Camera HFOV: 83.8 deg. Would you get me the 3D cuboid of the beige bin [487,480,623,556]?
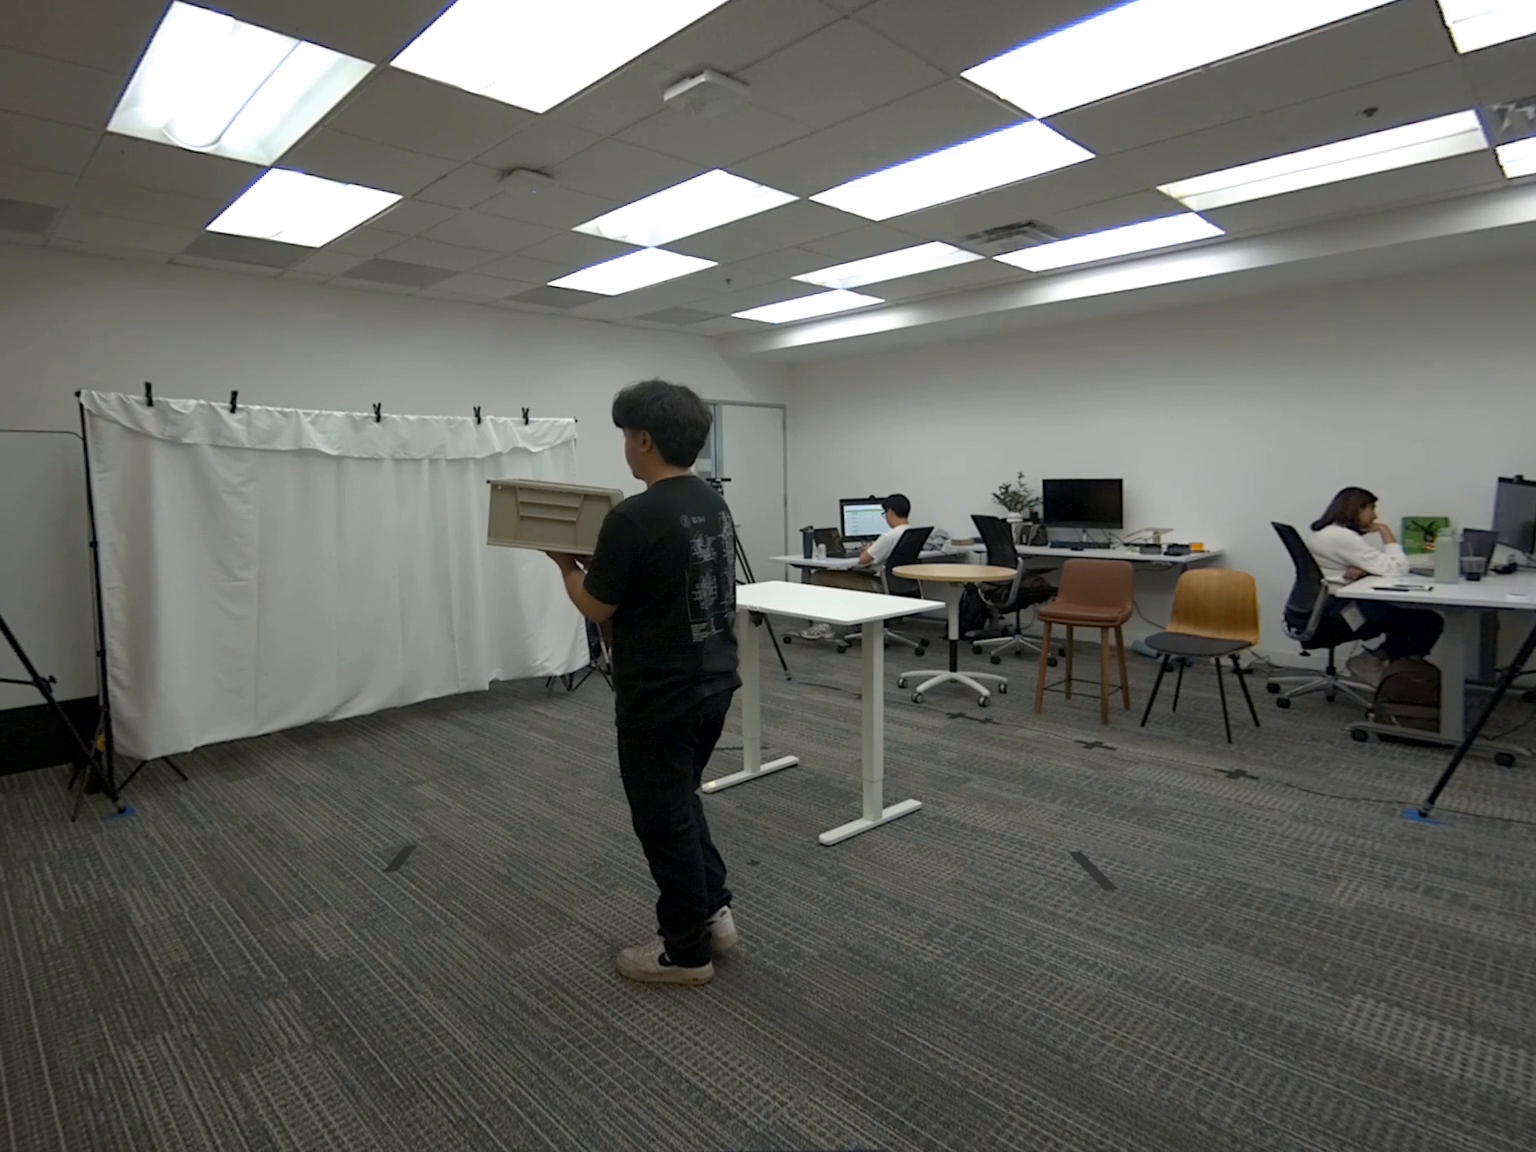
[{"bbox_3d":[-0.612,-0.180,2.548,0.376,0.188,0.426,5,6,-5],"label":"beige bin"}]
